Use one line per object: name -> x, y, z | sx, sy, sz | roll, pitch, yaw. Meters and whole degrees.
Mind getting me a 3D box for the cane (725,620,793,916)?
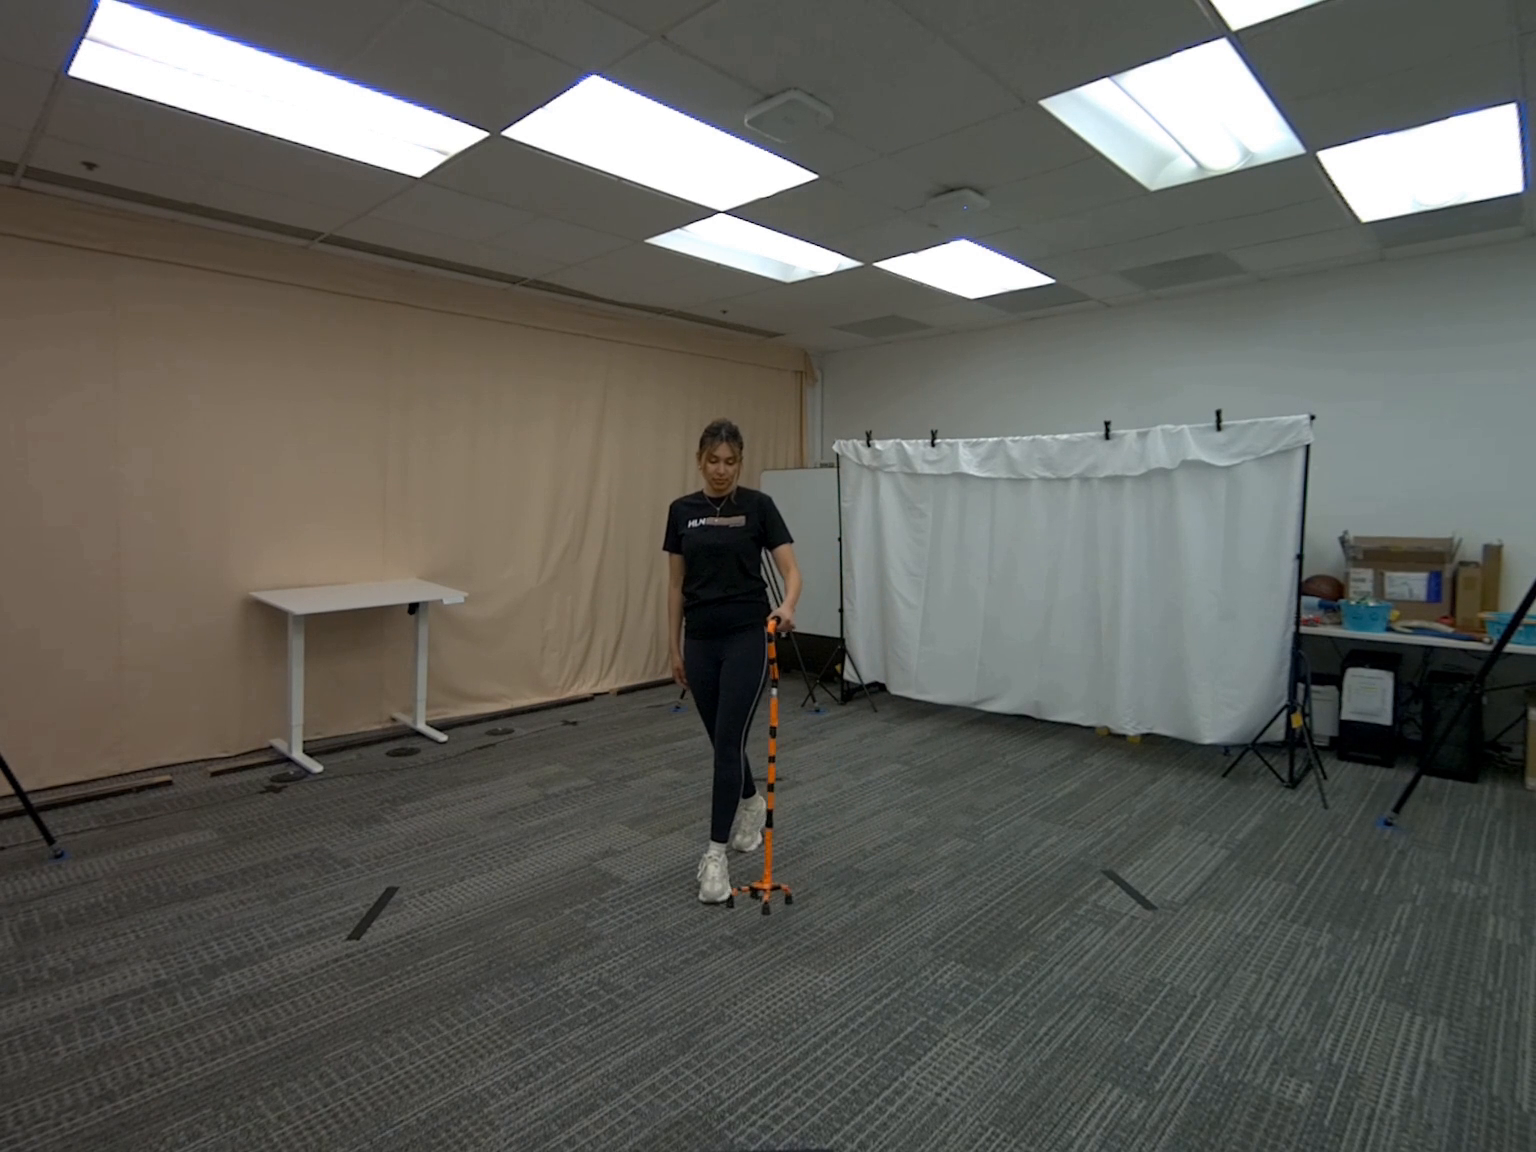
cane -> 0.006, 0.593, 2.726 | 0.155, 0.913, 0.200 | -2, -10, 26
